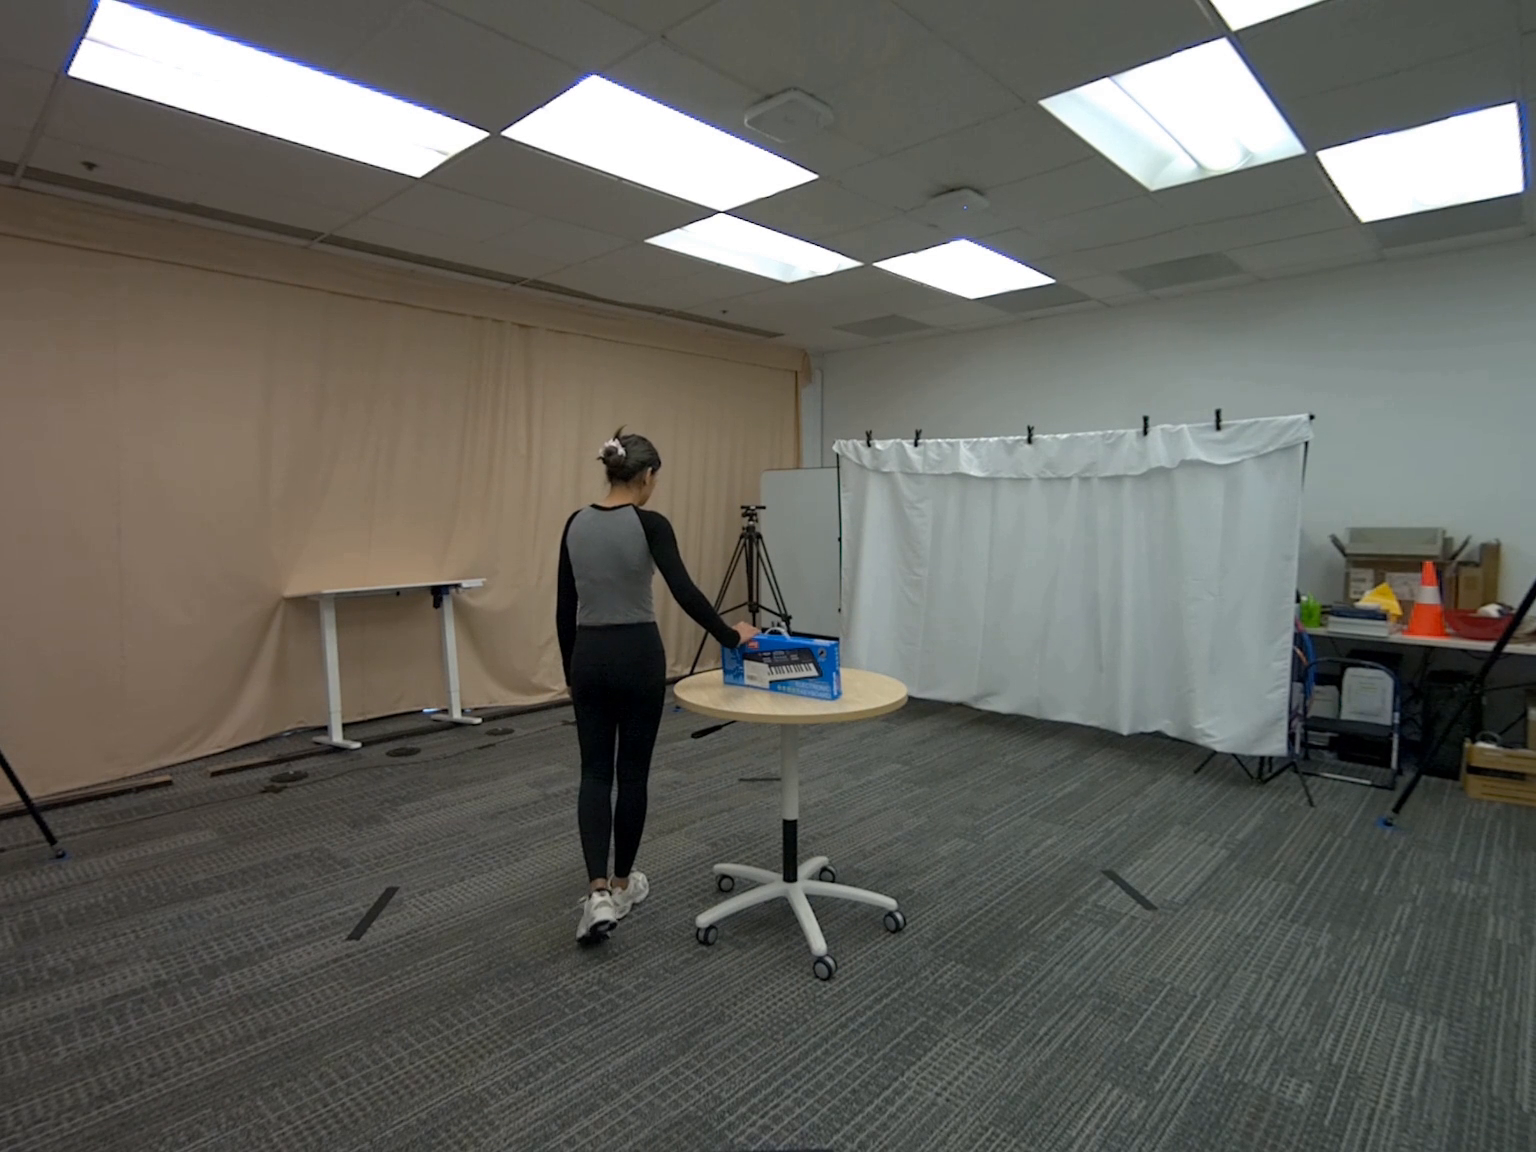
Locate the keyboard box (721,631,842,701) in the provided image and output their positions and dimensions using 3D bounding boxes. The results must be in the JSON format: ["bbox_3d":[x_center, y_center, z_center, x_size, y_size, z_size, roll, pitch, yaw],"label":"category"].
[{"bbox_3d":[0.039,0.286,2.719,0.451,0.175,0.057,2,8,39],"label":"keyboard box"}]
